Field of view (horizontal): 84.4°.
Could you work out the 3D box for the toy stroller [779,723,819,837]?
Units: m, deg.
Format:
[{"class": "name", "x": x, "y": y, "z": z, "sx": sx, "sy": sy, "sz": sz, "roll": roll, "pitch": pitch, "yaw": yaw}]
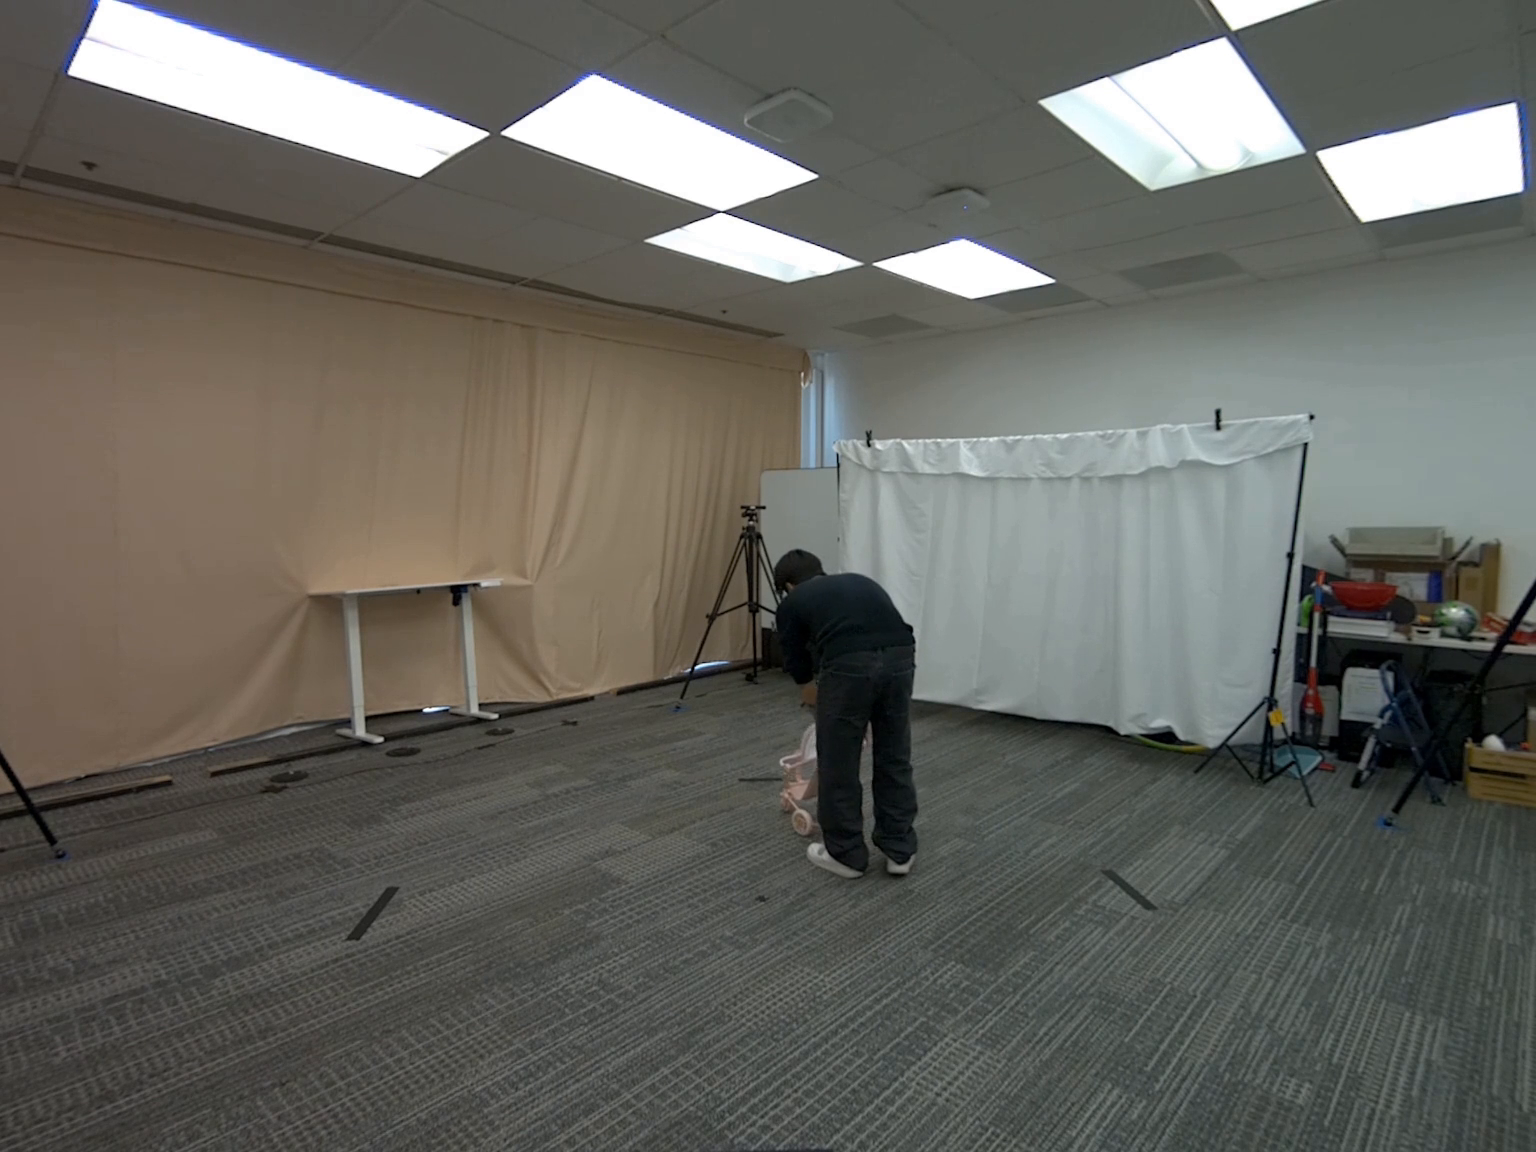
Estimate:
[{"class": "toy stroller", "x": 0.211, "y": 0.862, "z": 3.667, "sx": 0.273, "sy": 0.531, "sz": 0.354, "roll": -1, "pitch": 21, "yaw": -34}]
